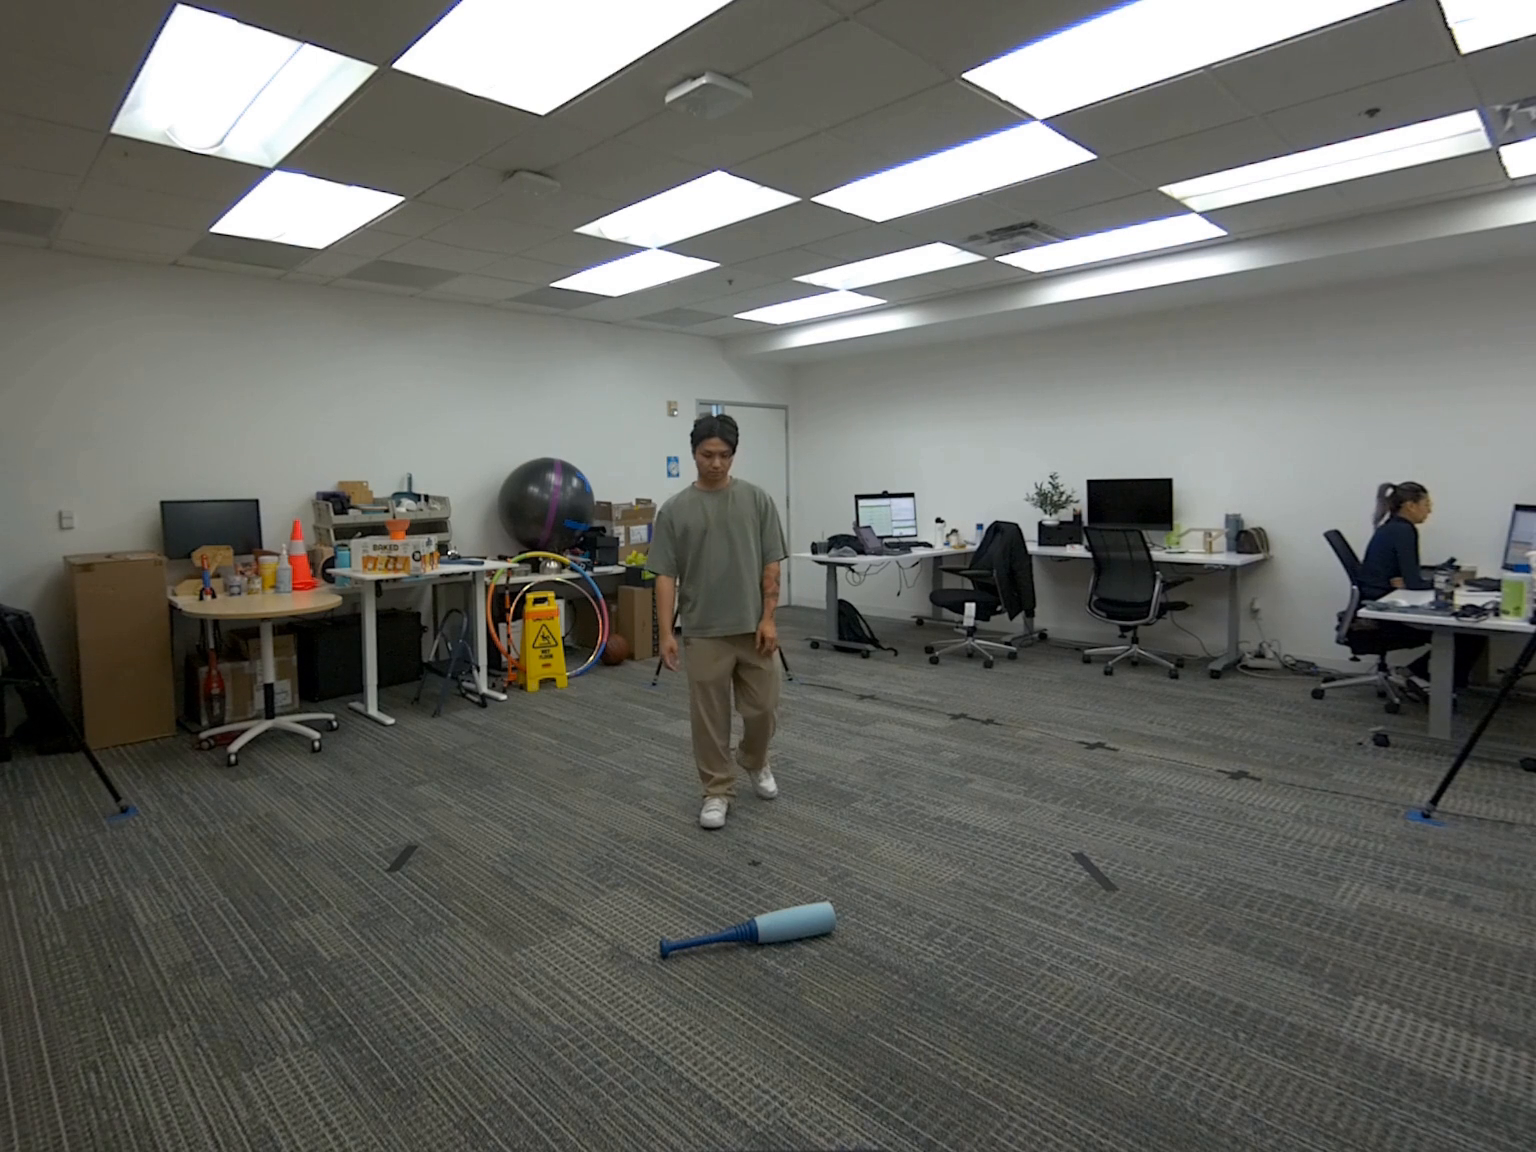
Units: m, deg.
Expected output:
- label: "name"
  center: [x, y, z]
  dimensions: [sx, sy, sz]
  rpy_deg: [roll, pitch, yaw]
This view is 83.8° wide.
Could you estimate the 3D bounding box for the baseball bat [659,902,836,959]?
- label: "baseball bat"
  center: [-0.054, 1.074, 2.568]
  dimensions: [0.536, 0.088, 0.090]
  rpy_deg: [-5, 6, -14]
